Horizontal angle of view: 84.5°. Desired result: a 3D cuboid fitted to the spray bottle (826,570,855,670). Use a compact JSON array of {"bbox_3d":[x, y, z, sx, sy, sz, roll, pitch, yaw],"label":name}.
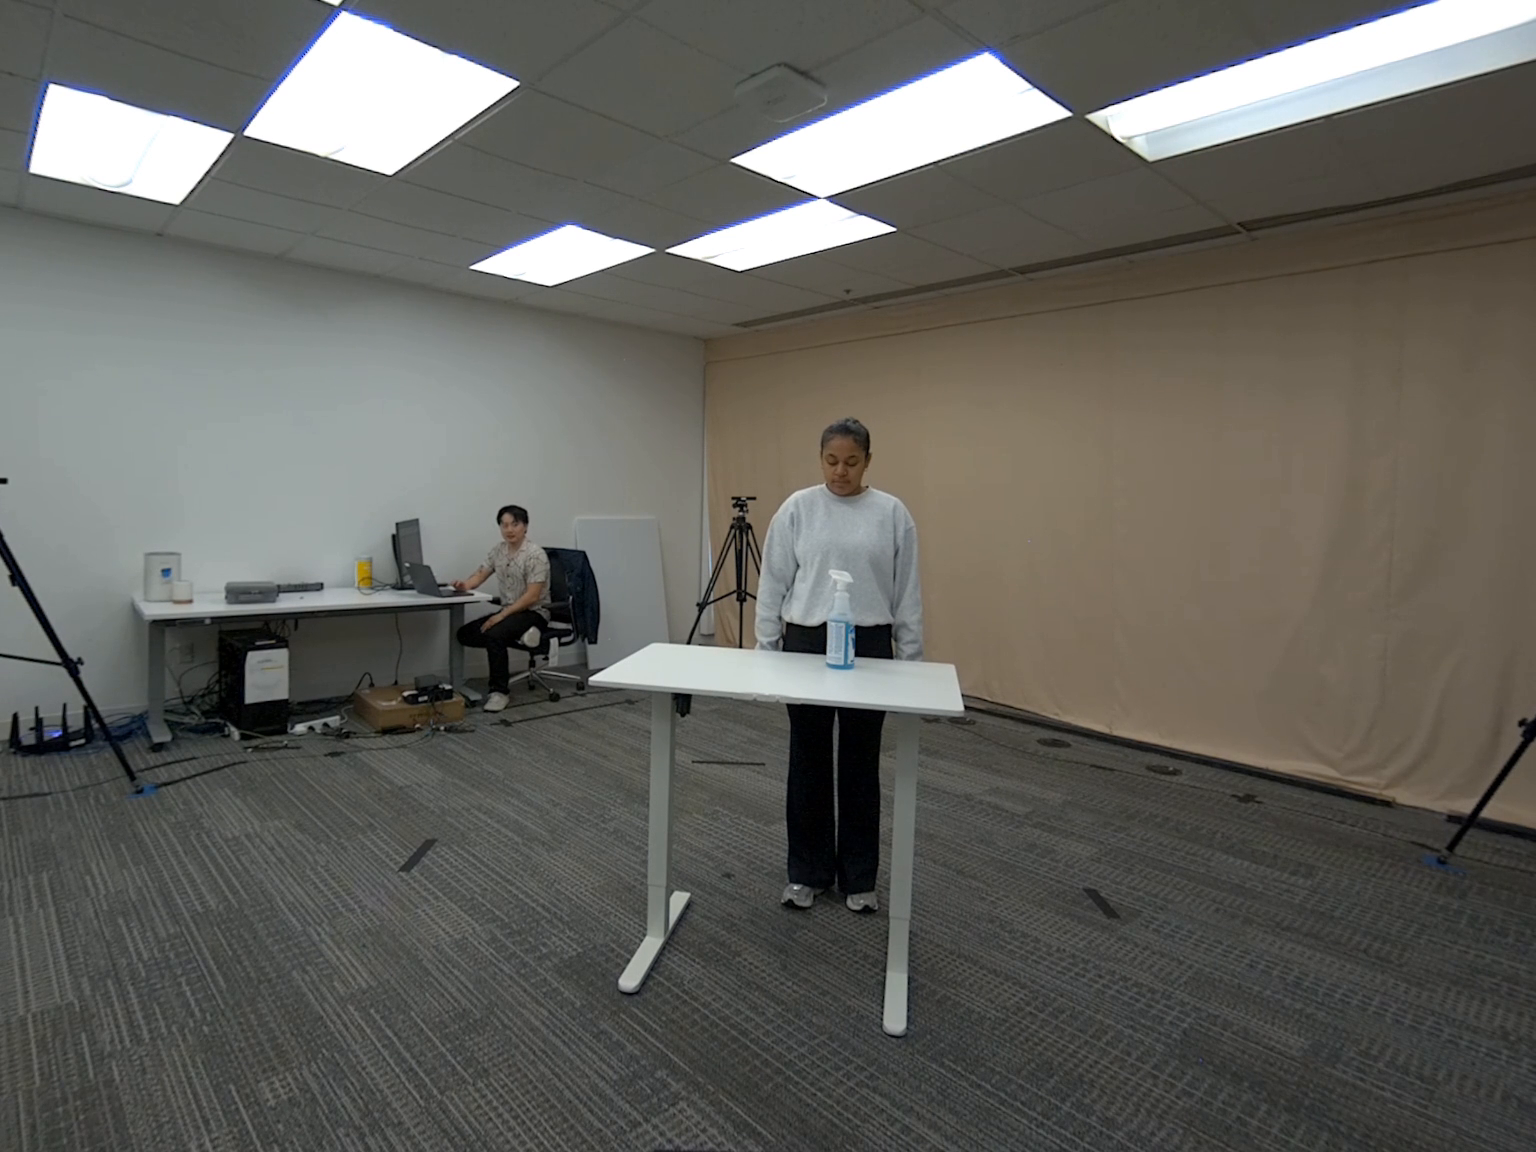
[{"bbox_3d":[0.218,0.136,2.579,0.086,0.296,0.091,0,4,-17],"label":"spray bottle"}]
